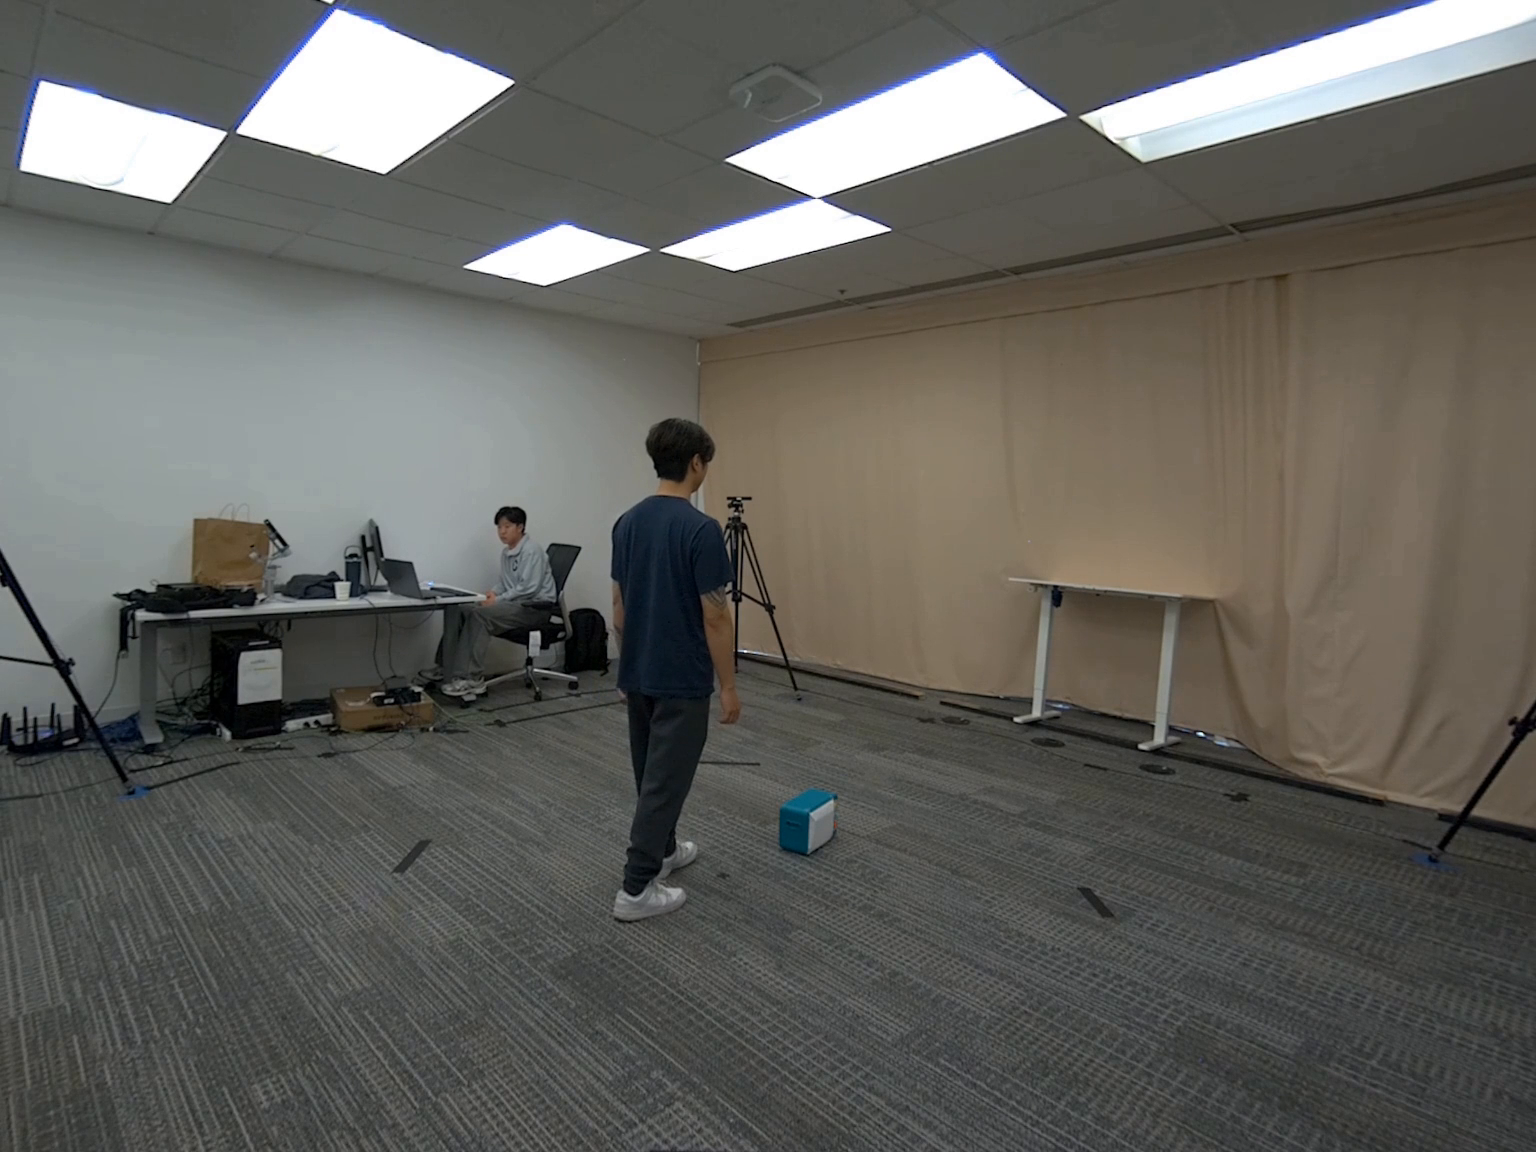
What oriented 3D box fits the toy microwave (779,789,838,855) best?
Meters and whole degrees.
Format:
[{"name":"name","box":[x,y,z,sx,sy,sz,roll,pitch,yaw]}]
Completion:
[{"name":"toy microwave","box":[0.164,0.993,3.415,0.156,0.184,0.280,4,4,31]}]
